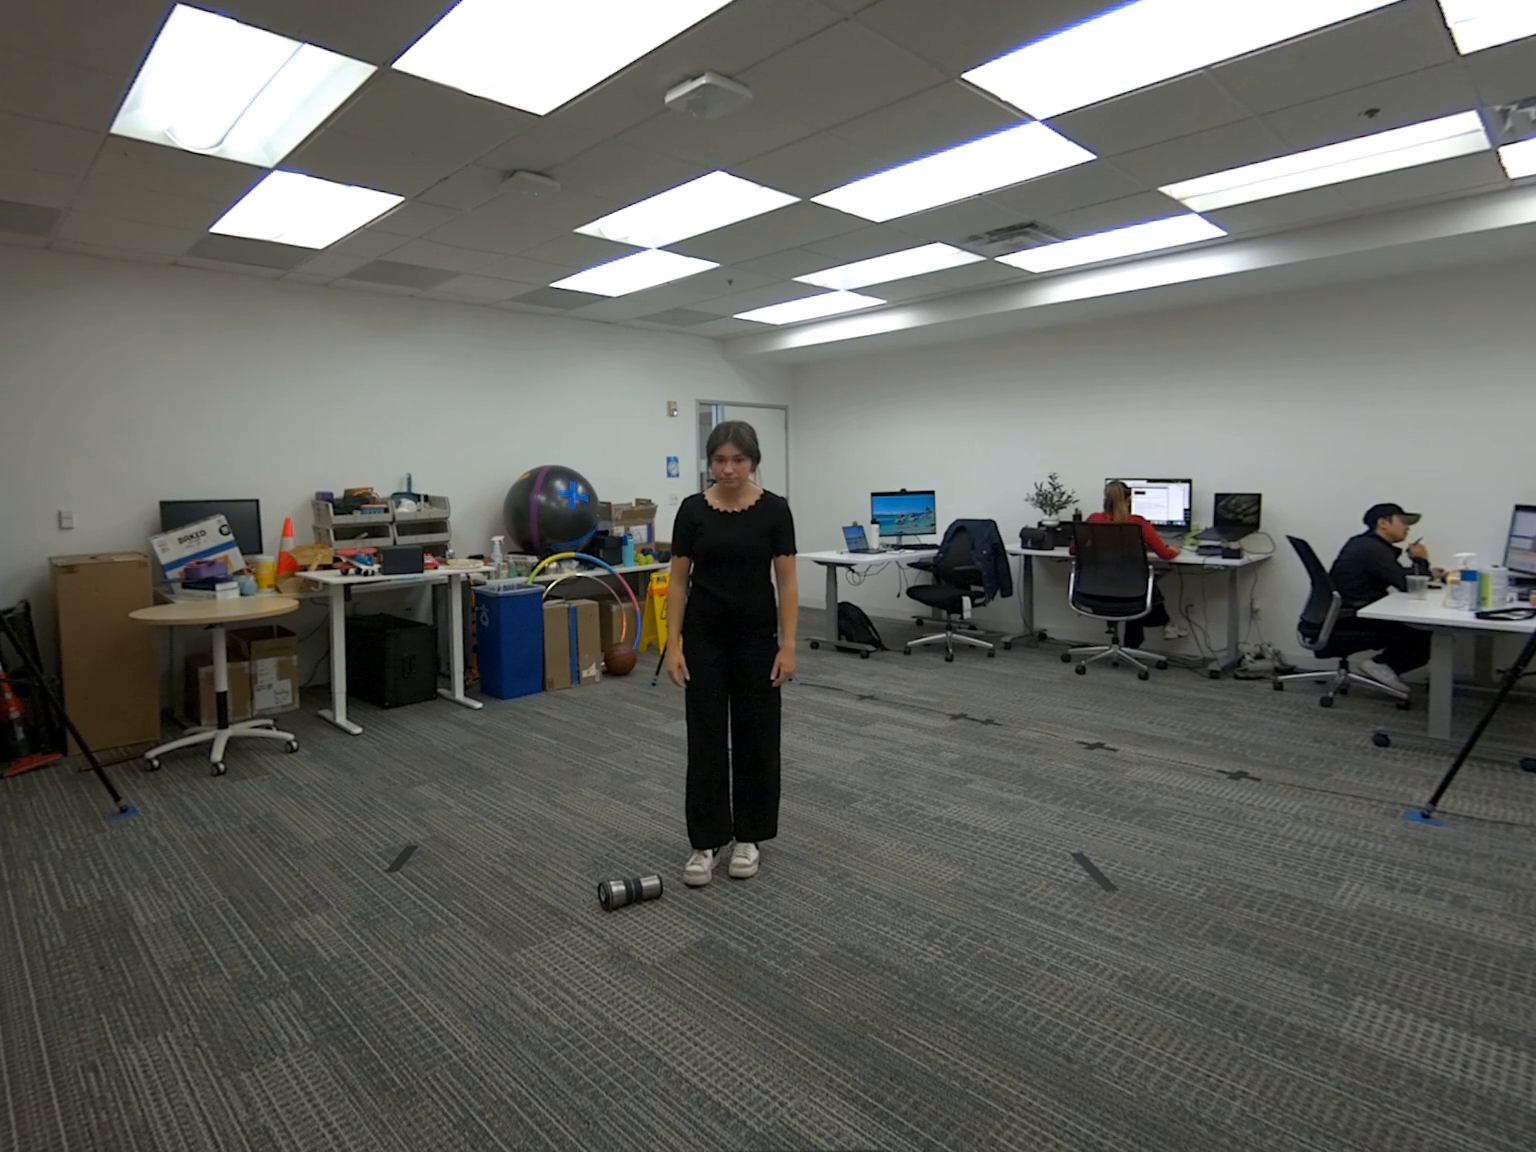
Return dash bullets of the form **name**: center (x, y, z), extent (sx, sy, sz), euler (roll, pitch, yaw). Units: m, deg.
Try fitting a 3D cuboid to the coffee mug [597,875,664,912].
- **coffee mug**: center (-0.459, 1.036, 2.847), extent (0.198, 0.087, 0.126), euler (-3, 16, -29)
